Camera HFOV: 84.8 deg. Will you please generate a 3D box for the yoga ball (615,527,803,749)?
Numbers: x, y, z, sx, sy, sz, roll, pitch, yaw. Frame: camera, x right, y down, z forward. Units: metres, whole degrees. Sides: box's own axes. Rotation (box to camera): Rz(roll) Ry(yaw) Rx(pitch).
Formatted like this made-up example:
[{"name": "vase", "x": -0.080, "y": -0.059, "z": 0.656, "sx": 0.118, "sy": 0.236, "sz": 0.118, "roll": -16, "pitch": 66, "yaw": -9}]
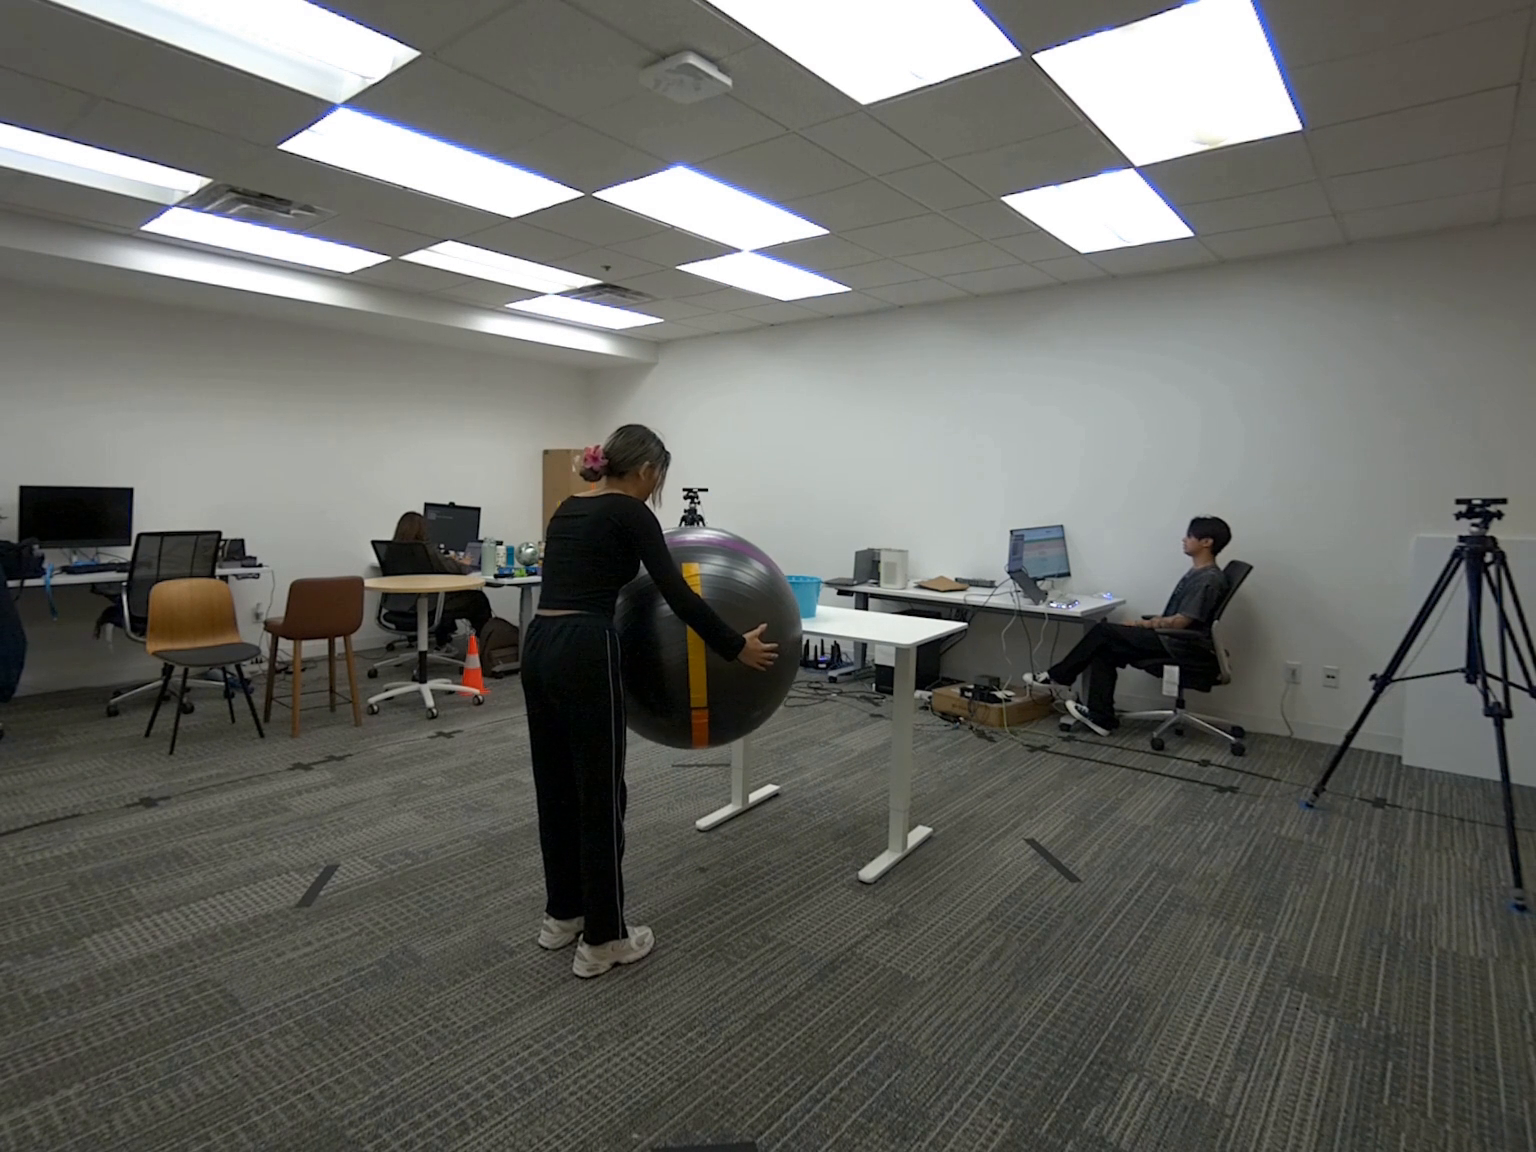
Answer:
[{"name": "yoga ball", "x": -0.266, "y": 0.208, "z": 2.933, "sx": 0.757, "sy": 0.756, "sz": 0.761, "roll": 1, "pitch": 4, "yaw": -2}]
